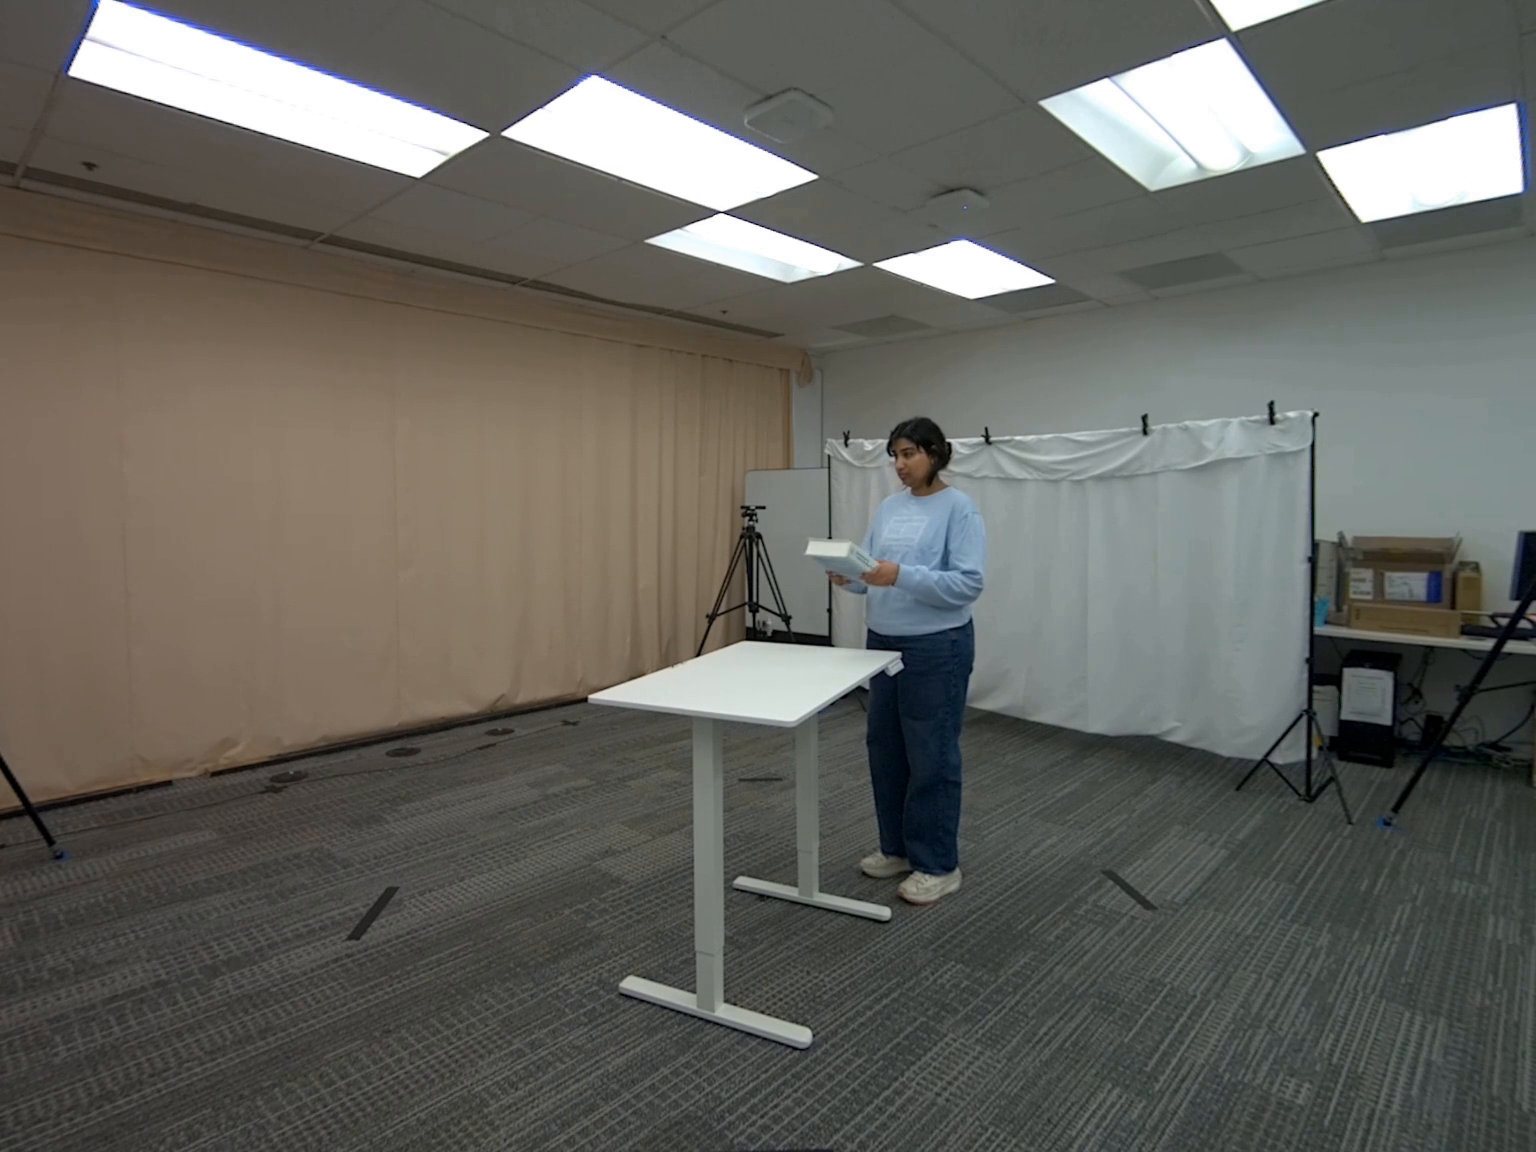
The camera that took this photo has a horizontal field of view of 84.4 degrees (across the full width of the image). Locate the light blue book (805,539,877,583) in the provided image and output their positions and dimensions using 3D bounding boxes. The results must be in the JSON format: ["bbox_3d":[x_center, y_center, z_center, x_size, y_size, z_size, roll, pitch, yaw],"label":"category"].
[{"bbox_3d":[0.276,-0.049,2.882,0.198,0.059,0.251,5,-19,46],"label":"light blue book"}]
